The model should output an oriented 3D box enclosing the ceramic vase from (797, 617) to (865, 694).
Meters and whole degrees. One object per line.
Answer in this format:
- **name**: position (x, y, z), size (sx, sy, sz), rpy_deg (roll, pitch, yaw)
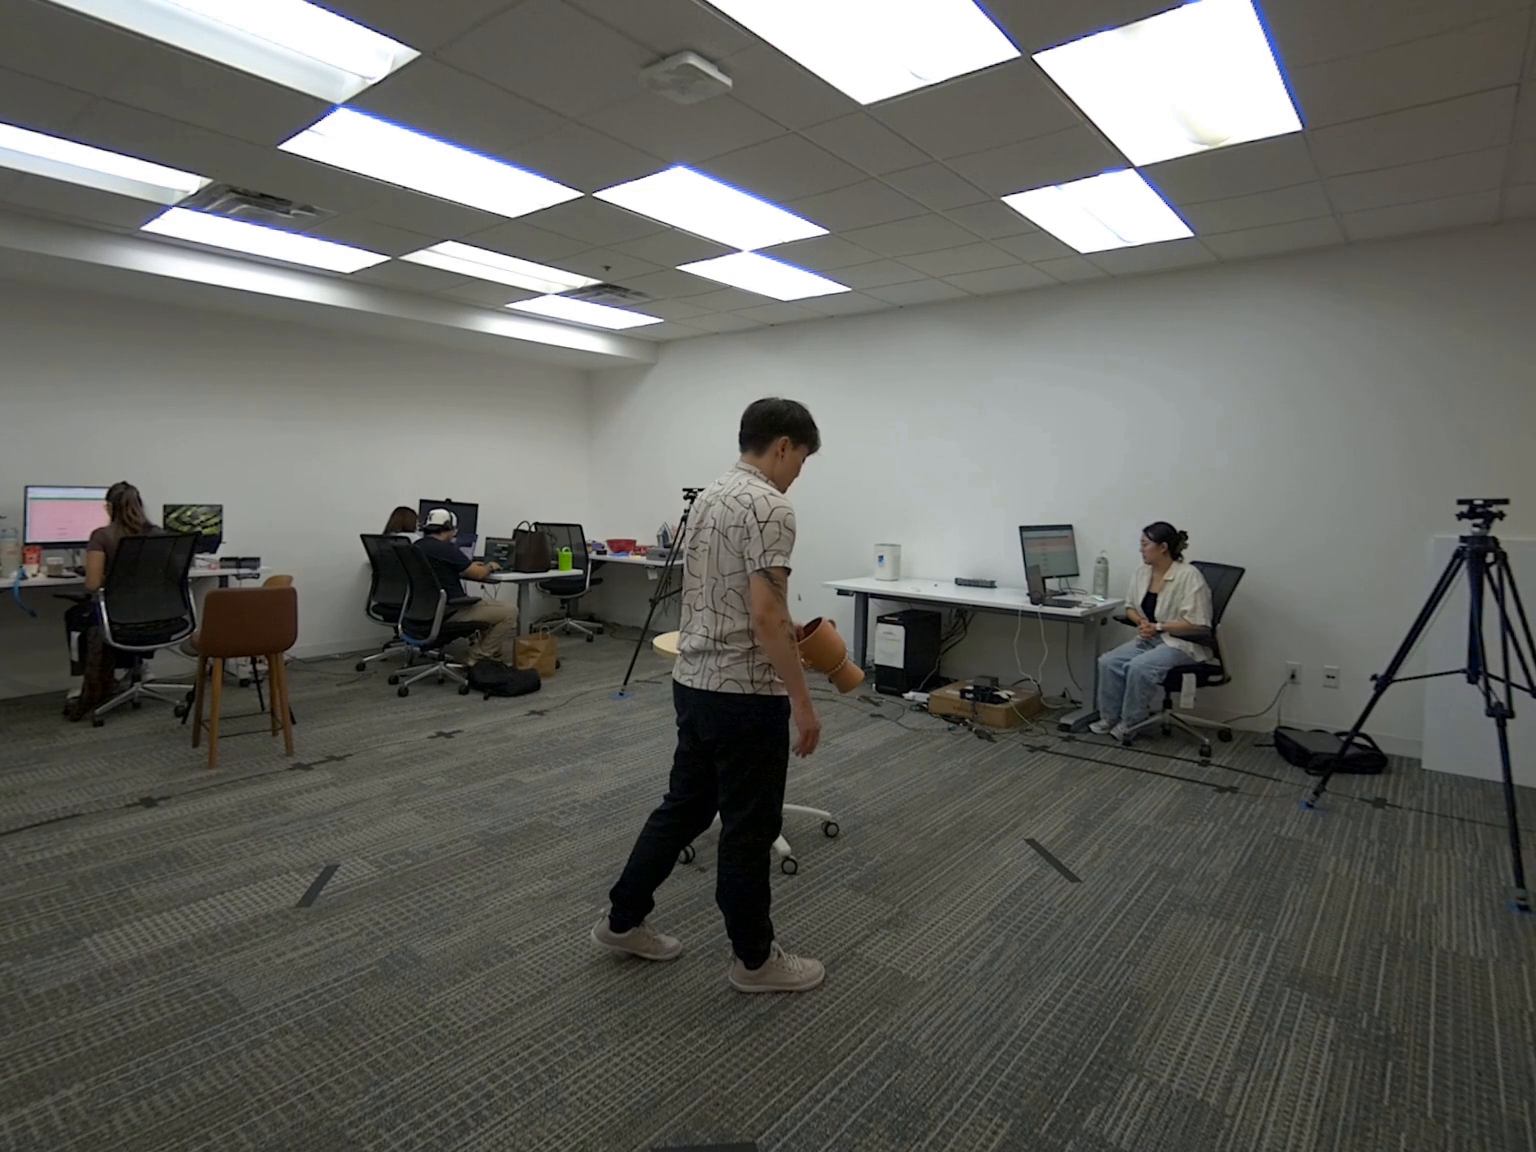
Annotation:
- **ceramic vase**: position (0.183, 0.249, 2.609), size (0.159, 0.218, 0.136), rpy_deg (-39, 7, 6)
